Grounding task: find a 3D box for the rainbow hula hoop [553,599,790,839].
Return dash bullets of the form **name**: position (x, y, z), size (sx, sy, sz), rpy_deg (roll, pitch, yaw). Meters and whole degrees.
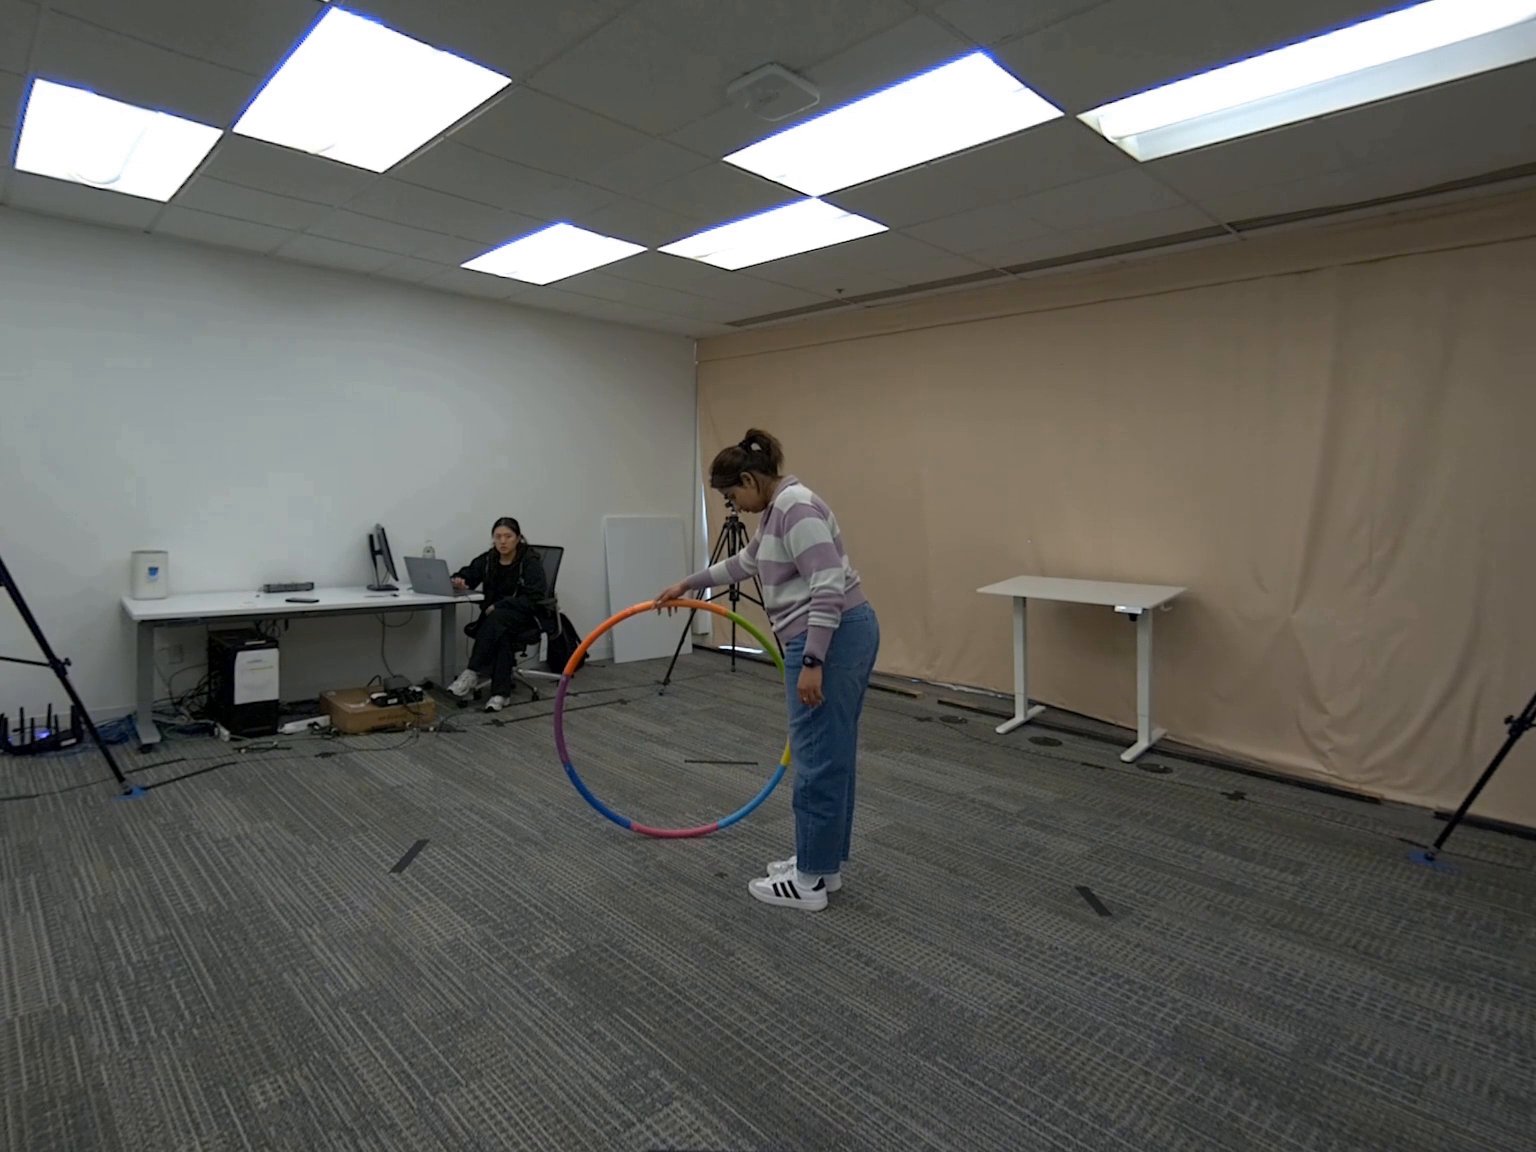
- **rainbow hula hoop**: position (-0.370, 0.573, 3.400), size (0.974, 0.975, 0.036), rpy_deg (1, 5, -5)
